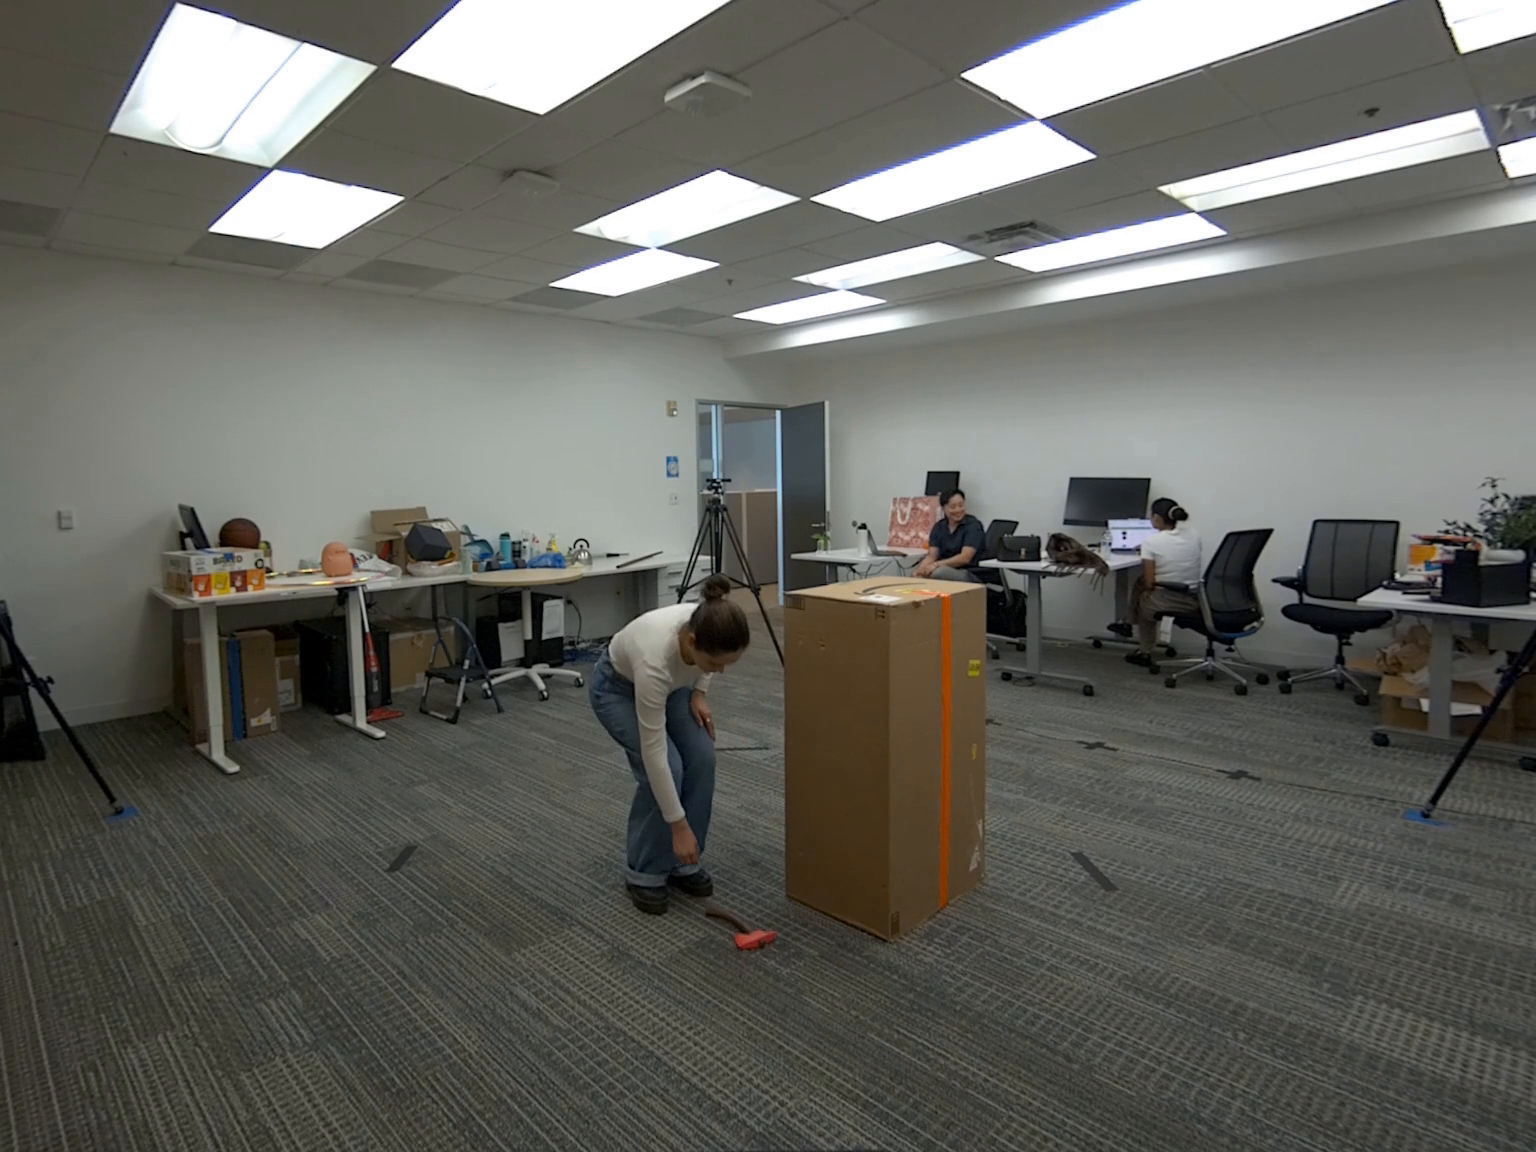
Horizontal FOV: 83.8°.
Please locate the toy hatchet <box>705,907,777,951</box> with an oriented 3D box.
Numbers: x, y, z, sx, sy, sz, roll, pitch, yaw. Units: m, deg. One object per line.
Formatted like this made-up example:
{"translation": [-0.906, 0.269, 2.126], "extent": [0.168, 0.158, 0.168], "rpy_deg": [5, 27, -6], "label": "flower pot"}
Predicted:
{"translation": [-0.107, 1.090, 2.631], "extent": [0.278, 0.029, 0.128], "rpy_deg": [2, 9, 40], "label": "toy hatchet"}
